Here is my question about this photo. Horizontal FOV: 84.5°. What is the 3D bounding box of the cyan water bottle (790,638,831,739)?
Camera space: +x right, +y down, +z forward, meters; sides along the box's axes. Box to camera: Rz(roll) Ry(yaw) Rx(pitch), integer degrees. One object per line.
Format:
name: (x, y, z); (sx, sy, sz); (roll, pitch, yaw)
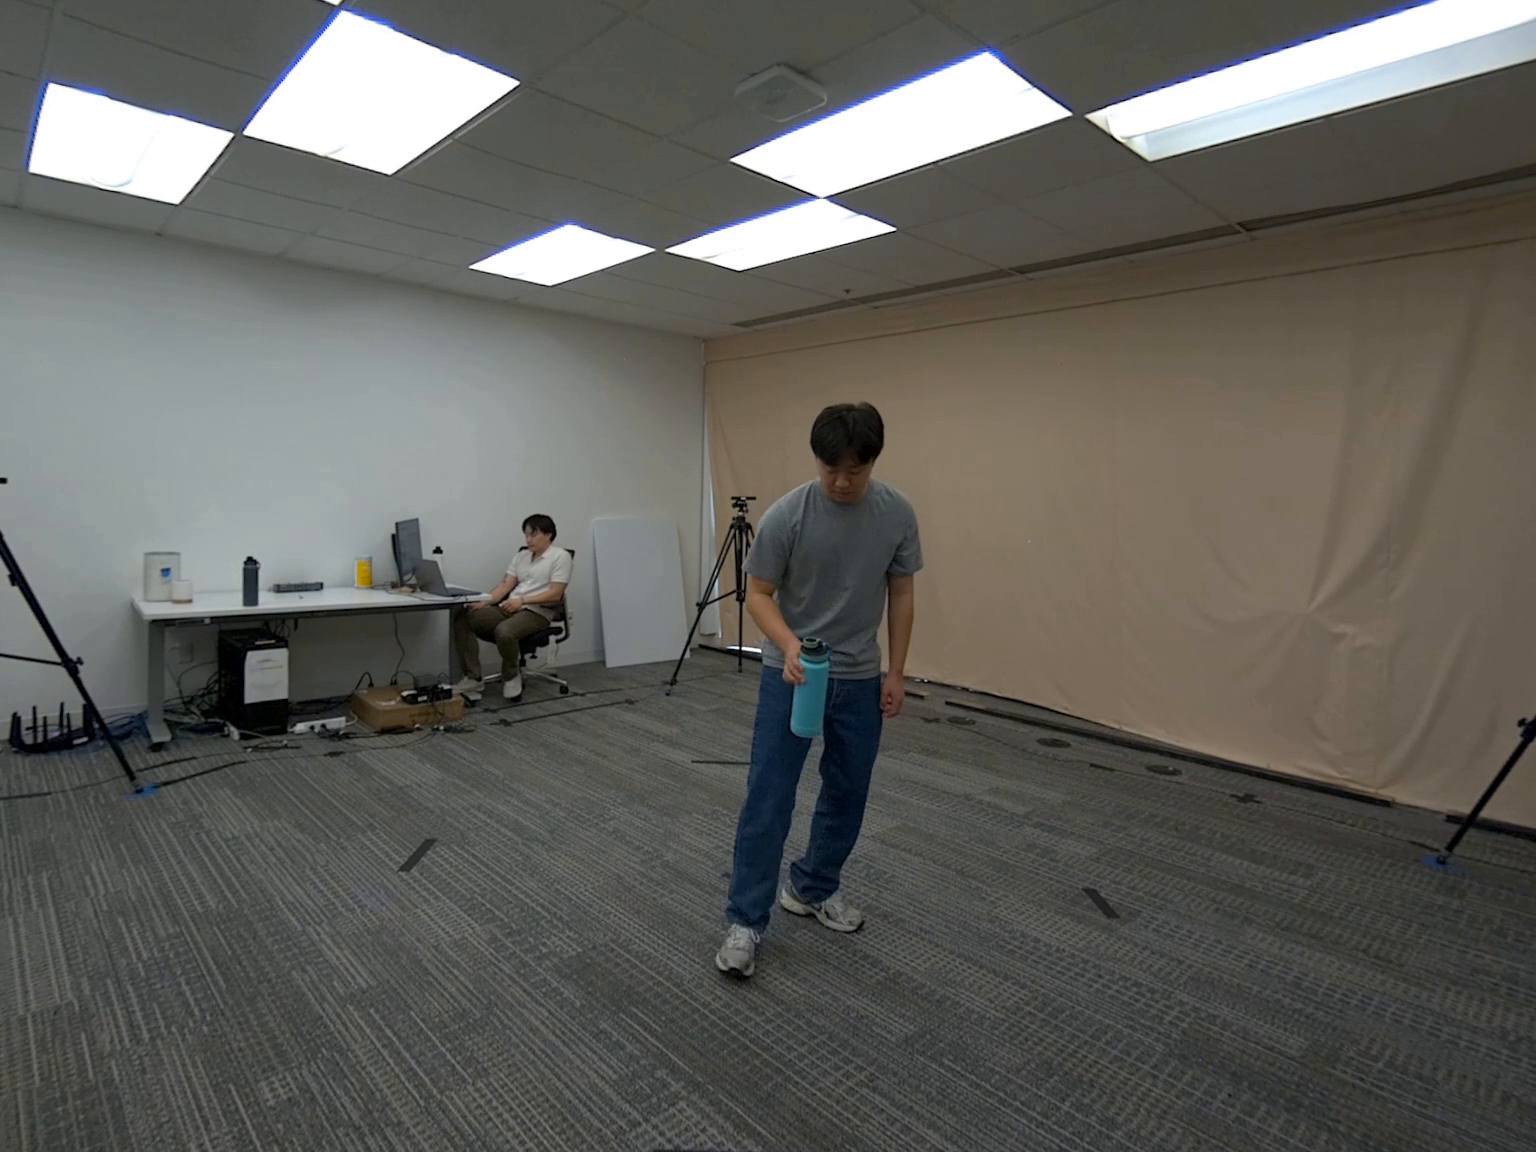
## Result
cyan water bottle: (0.113, 0.309, 2.330); (0.092, 0.280, 0.093); (6, 18, -3)
